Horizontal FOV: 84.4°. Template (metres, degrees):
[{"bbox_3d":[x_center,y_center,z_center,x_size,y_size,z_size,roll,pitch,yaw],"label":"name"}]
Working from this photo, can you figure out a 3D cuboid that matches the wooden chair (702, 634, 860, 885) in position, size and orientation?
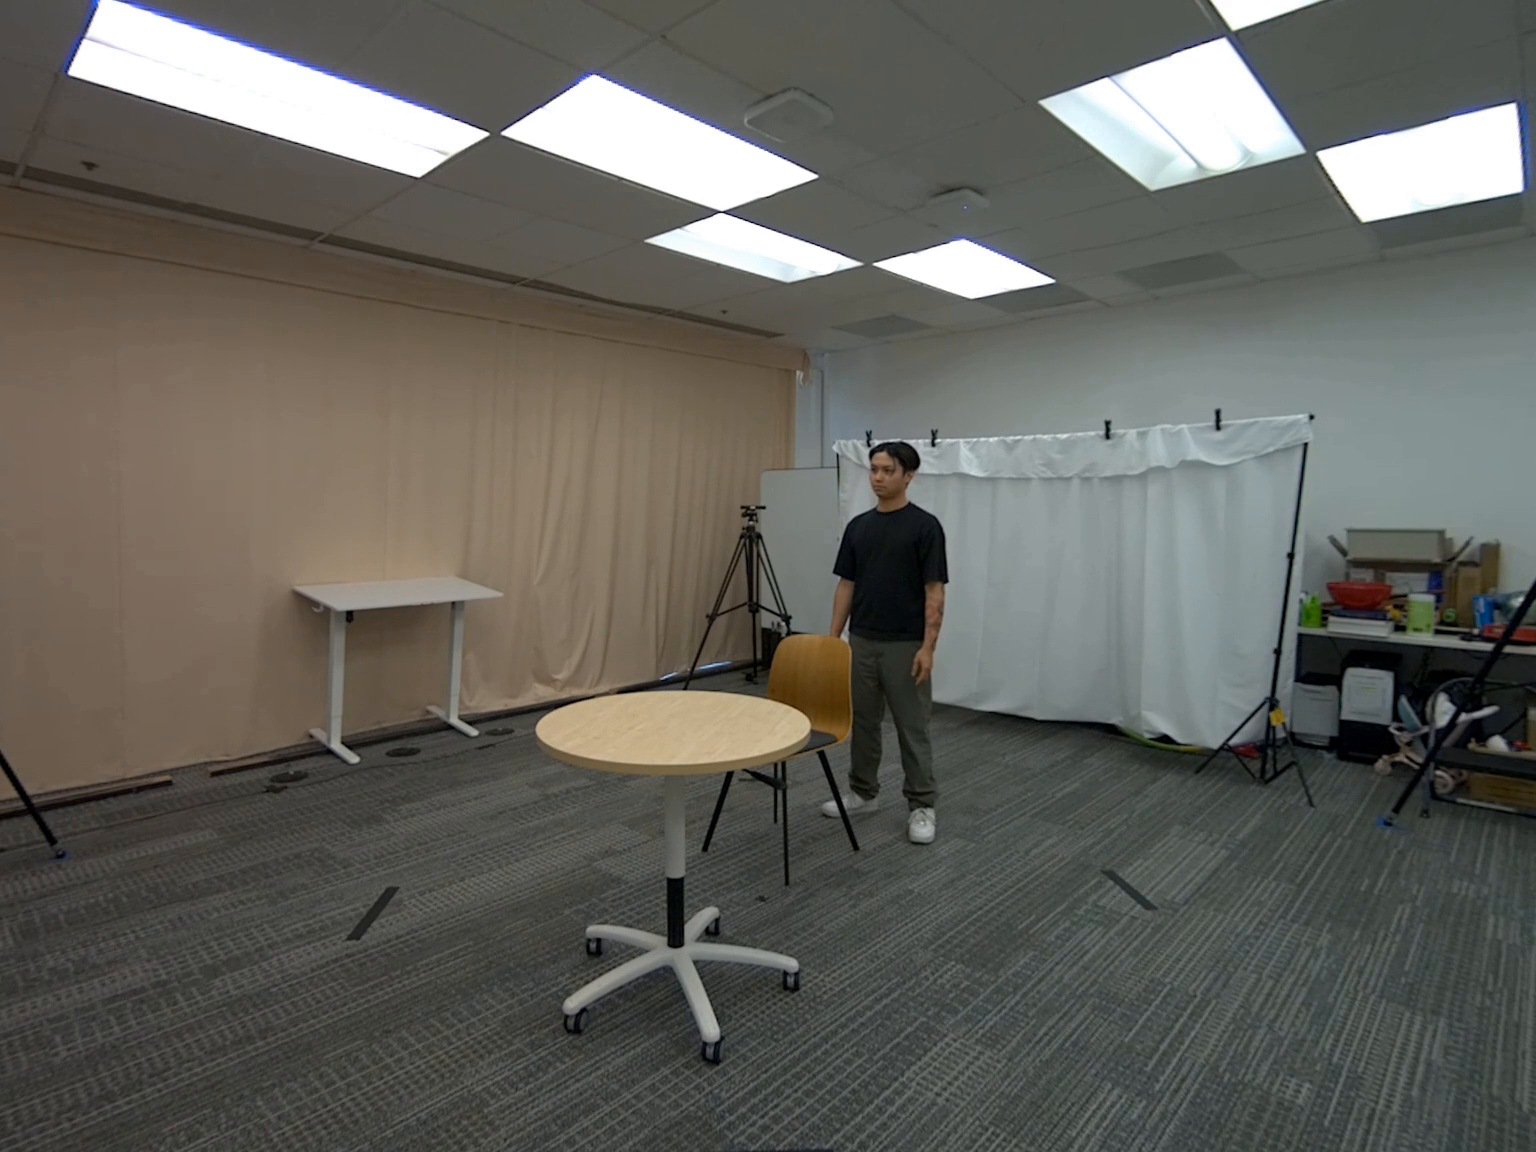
[{"bbox_3d":[0.049,0.686,3.356,0.494,0.877,0.506,3,1,43],"label":"wooden chair"}]
